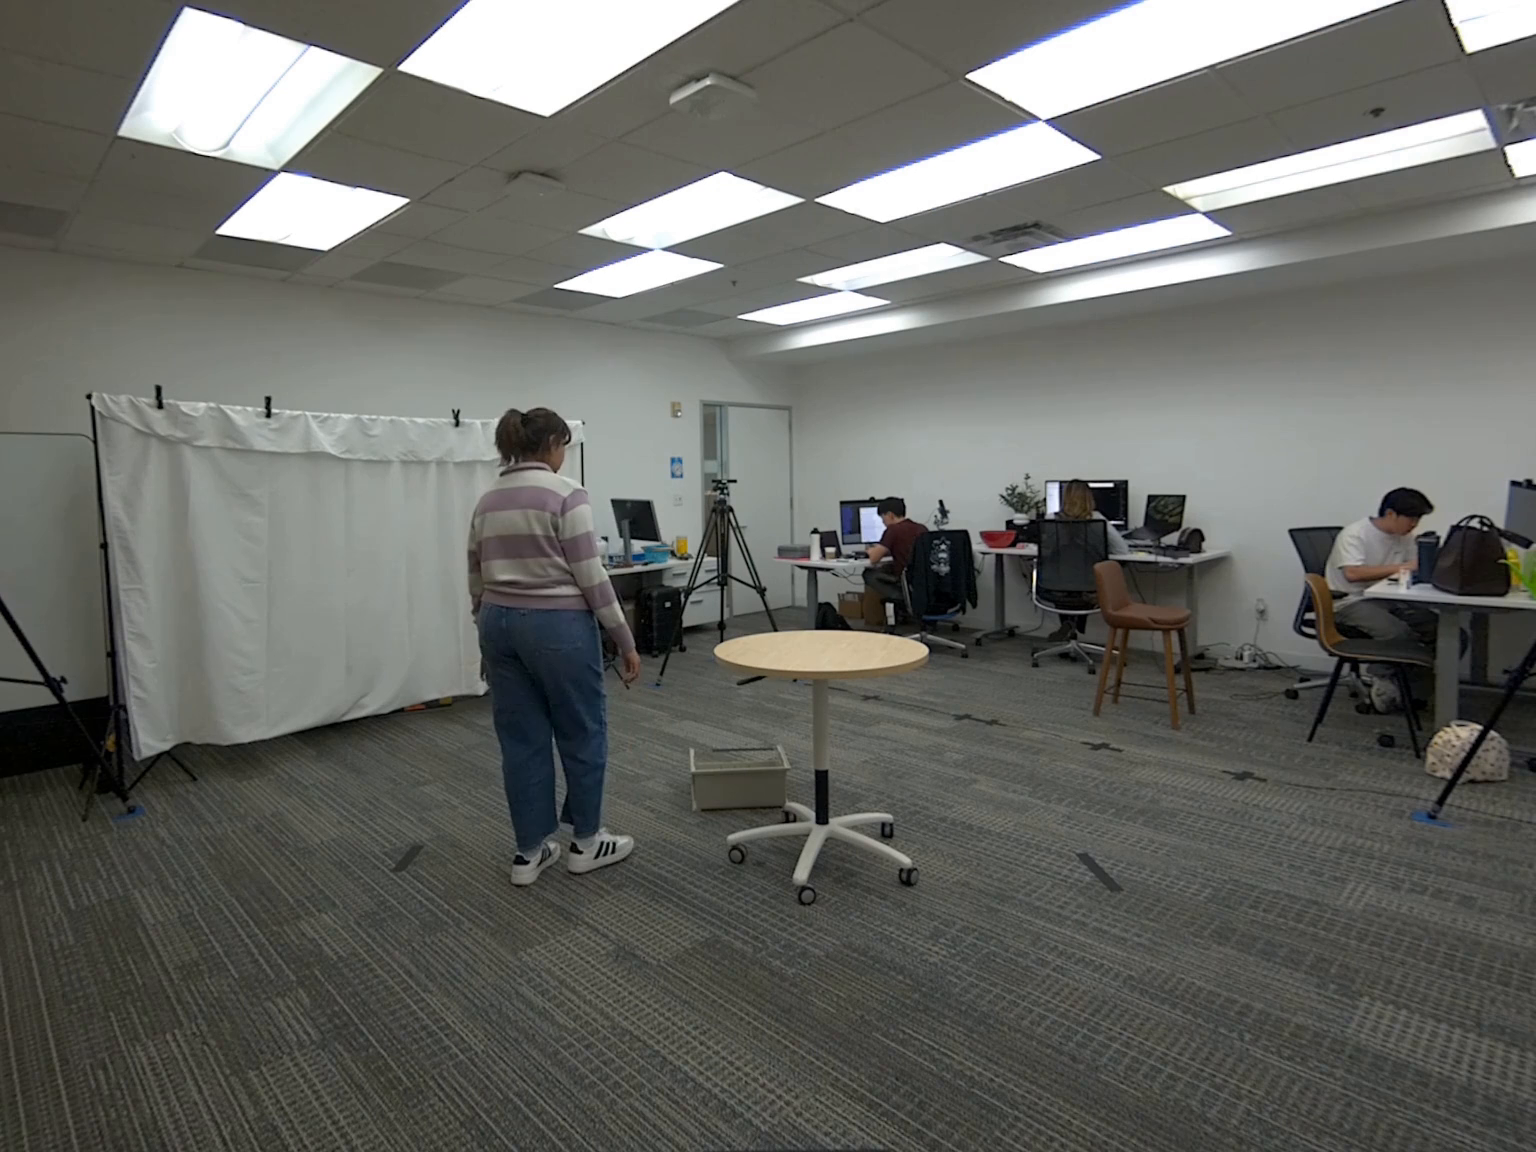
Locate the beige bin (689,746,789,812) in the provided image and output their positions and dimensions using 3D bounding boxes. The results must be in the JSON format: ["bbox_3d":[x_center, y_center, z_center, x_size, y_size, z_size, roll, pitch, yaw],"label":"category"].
[{"bbox_3d":[-0.133,0.887,3.796,0.421,0.188,0.381,-1,7,-4],"label":"beige bin"}]
